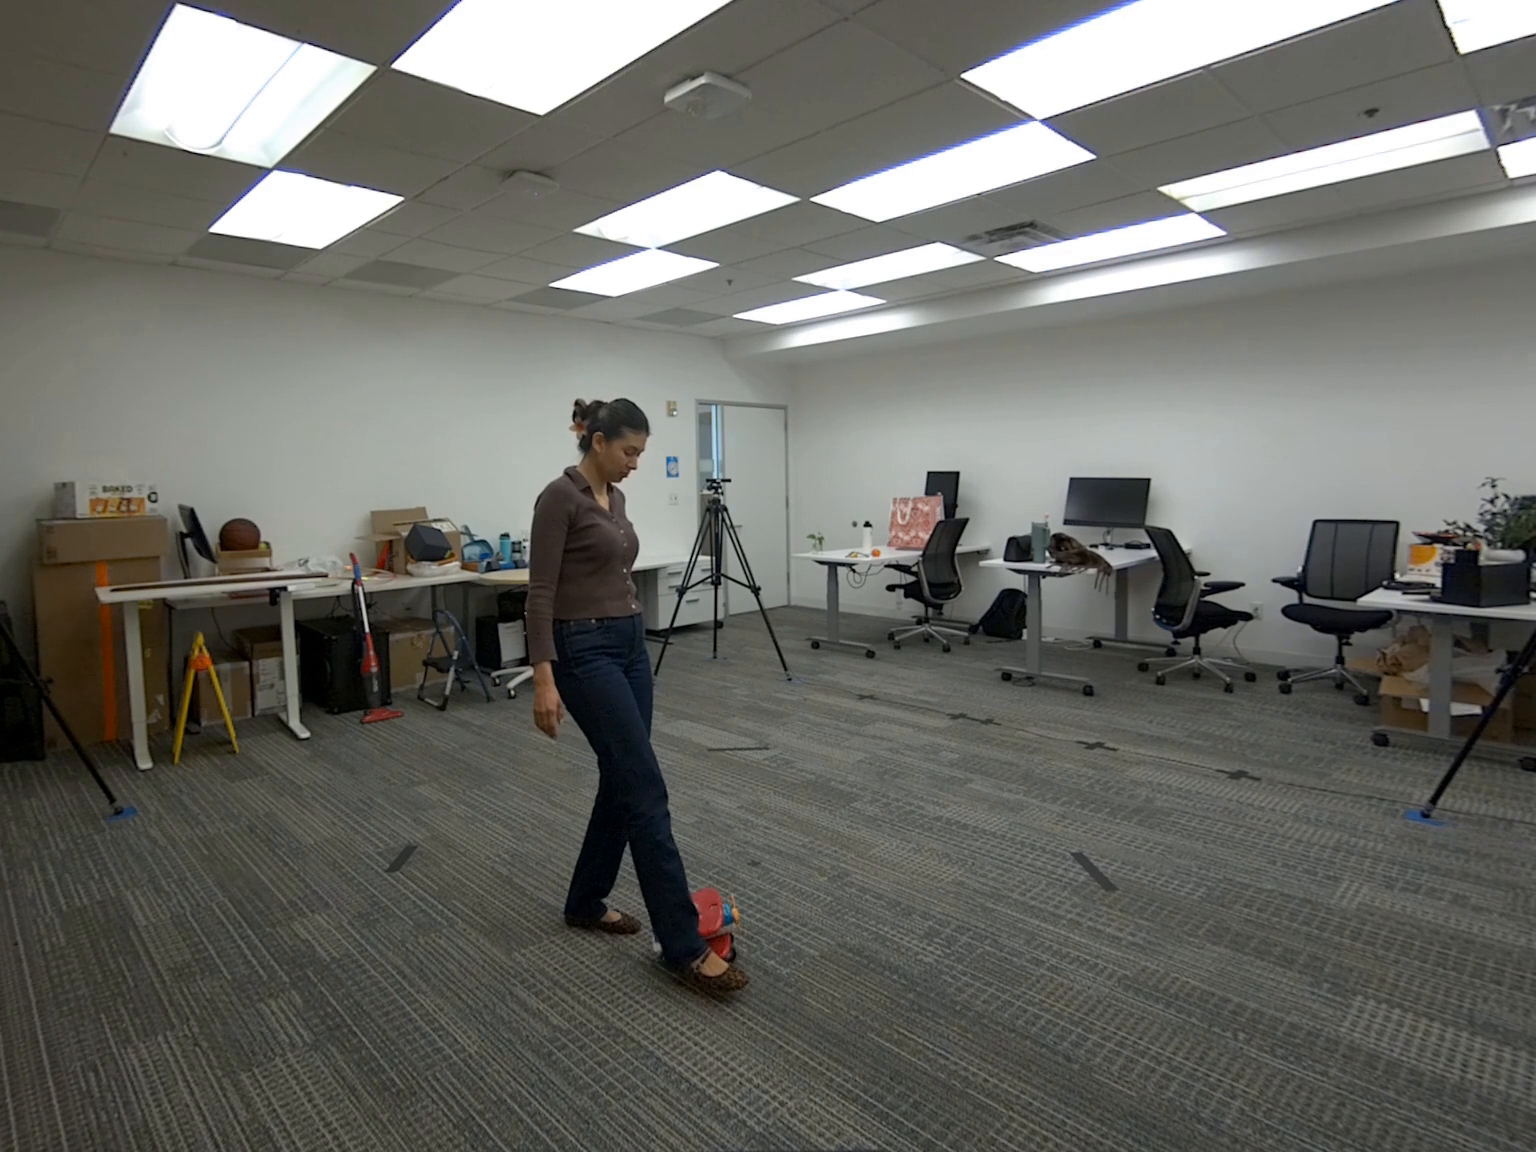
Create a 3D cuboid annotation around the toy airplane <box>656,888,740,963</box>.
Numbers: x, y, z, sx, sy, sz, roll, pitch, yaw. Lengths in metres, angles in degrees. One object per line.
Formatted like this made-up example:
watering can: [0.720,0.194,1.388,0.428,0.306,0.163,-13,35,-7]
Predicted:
toy airplane: [-0.198,1.045,2.487,0.253,0.155,0.258,-6,8,-34]
